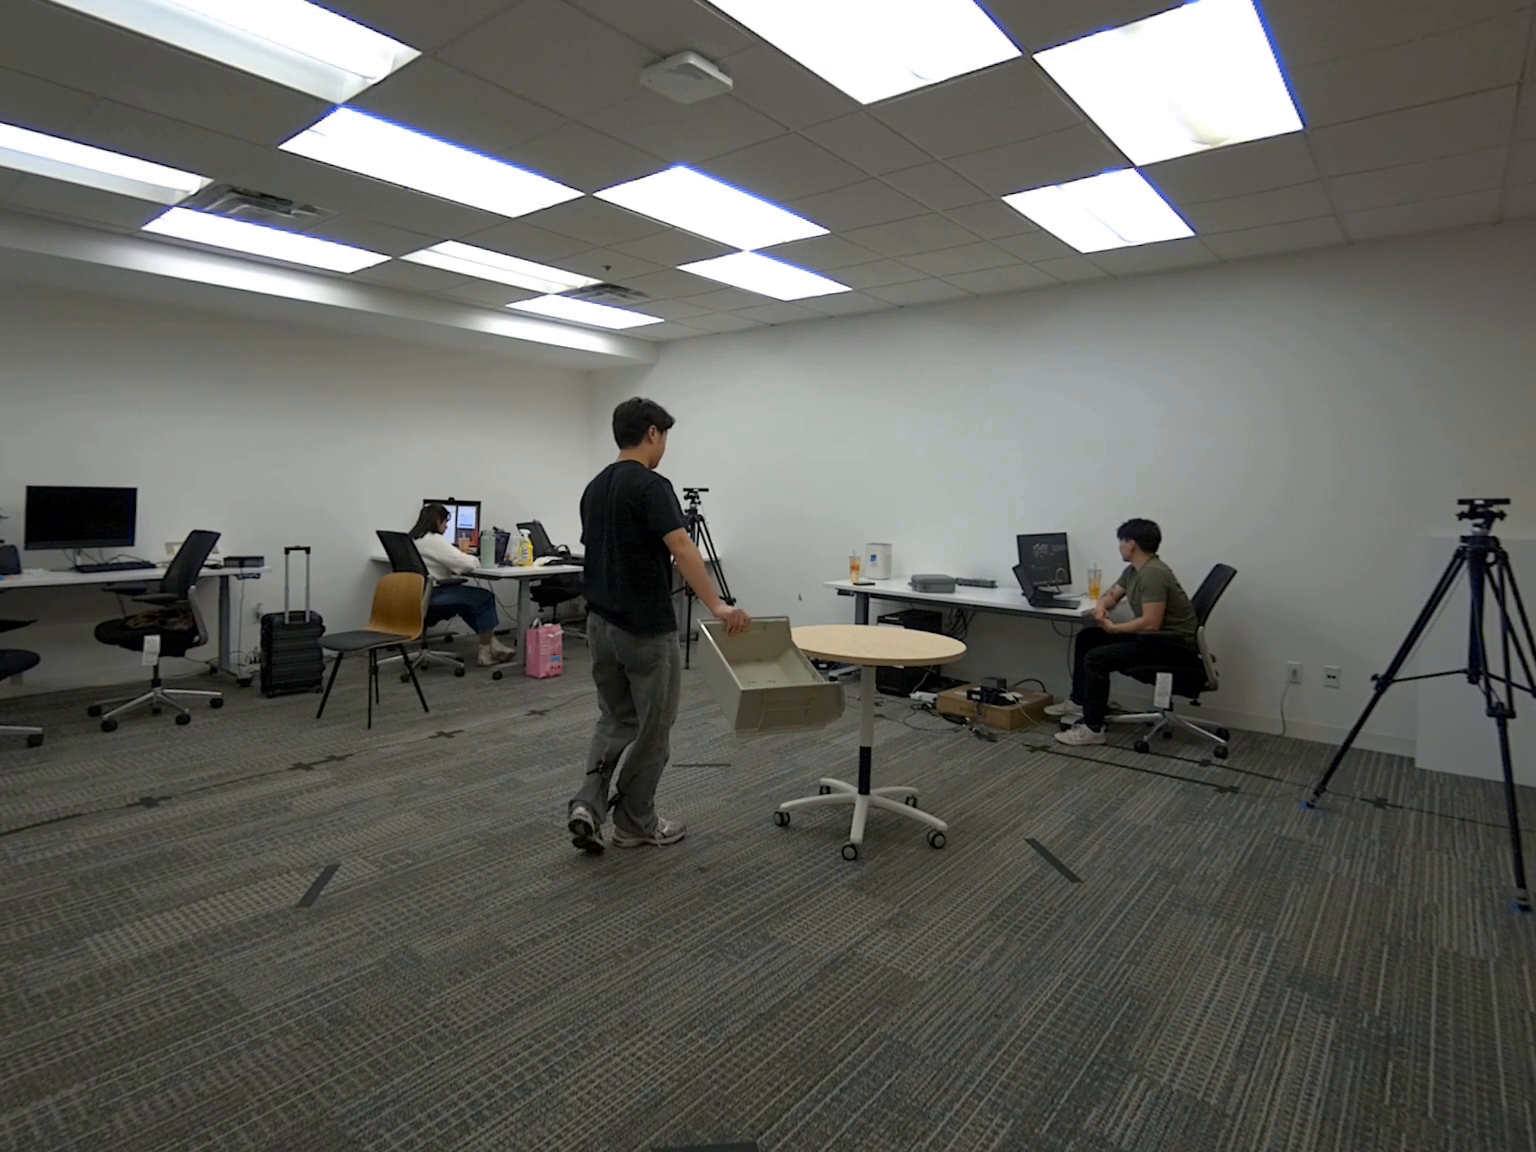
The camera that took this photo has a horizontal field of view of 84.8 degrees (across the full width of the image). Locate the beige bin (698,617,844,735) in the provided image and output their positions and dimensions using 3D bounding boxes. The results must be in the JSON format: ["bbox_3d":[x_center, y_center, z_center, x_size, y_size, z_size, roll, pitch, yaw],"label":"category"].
[{"bbox_3d":[-0.006,0.302,2.794,0.369,0.185,0.439,-3,27,-23],"label":"beige bin"}]
